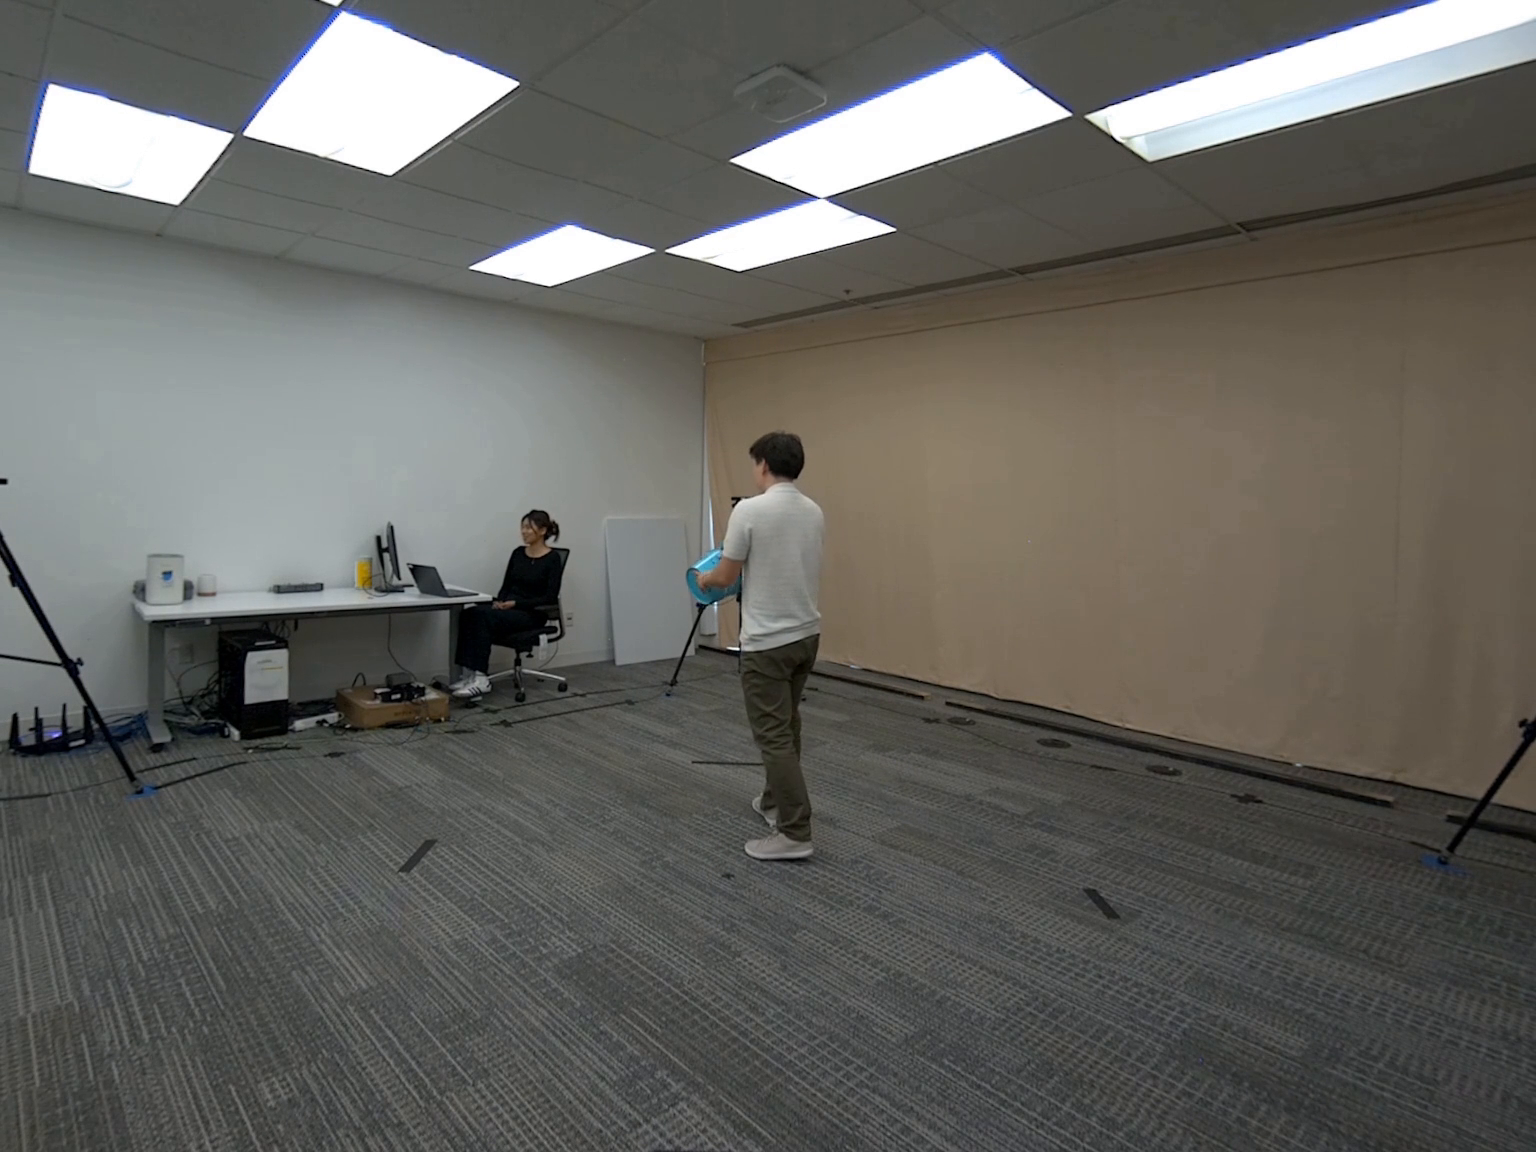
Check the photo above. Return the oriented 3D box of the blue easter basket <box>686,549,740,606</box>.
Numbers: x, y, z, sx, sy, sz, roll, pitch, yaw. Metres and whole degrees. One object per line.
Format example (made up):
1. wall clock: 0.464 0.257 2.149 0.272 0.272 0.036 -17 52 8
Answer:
1. blue easter basket: -0.257 0.019 3.809 0.154 0.240 0.250 -29 21 -33
